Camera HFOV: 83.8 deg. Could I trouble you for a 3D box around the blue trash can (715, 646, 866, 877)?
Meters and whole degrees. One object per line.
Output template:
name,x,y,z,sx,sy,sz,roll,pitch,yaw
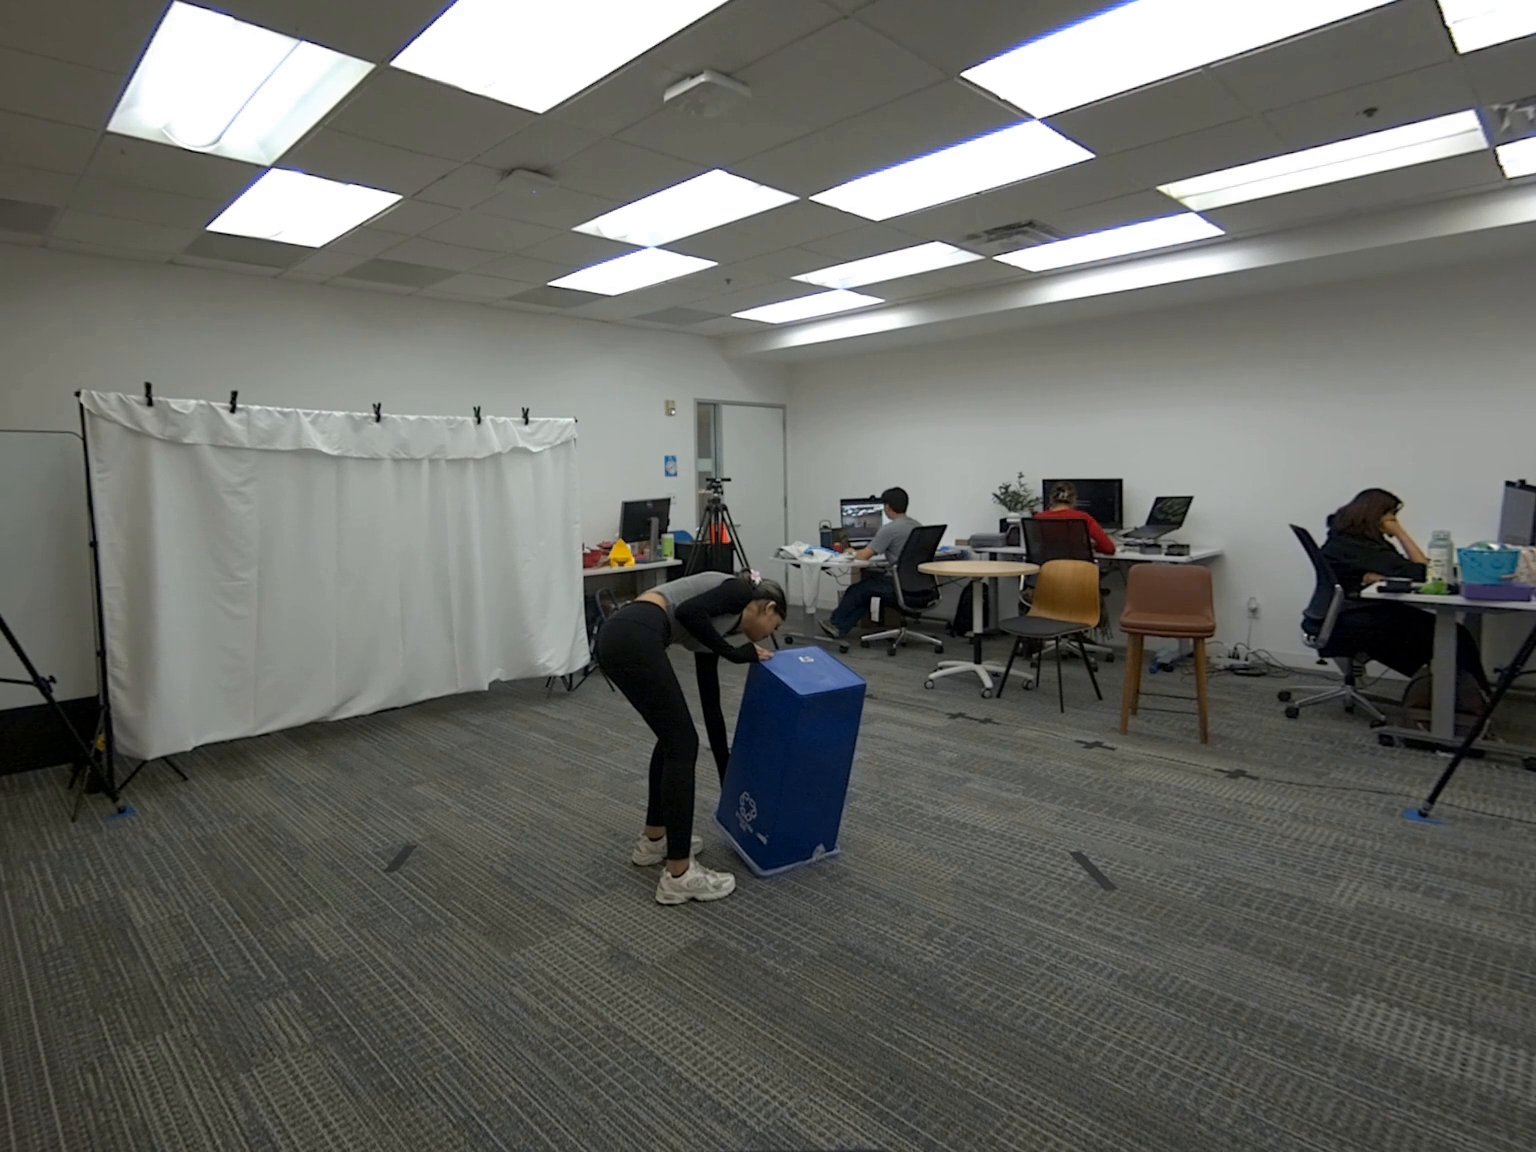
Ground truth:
blue trash can,0.089,0.653,3.102,0.368,0.704,0.388,-3,22,-35
